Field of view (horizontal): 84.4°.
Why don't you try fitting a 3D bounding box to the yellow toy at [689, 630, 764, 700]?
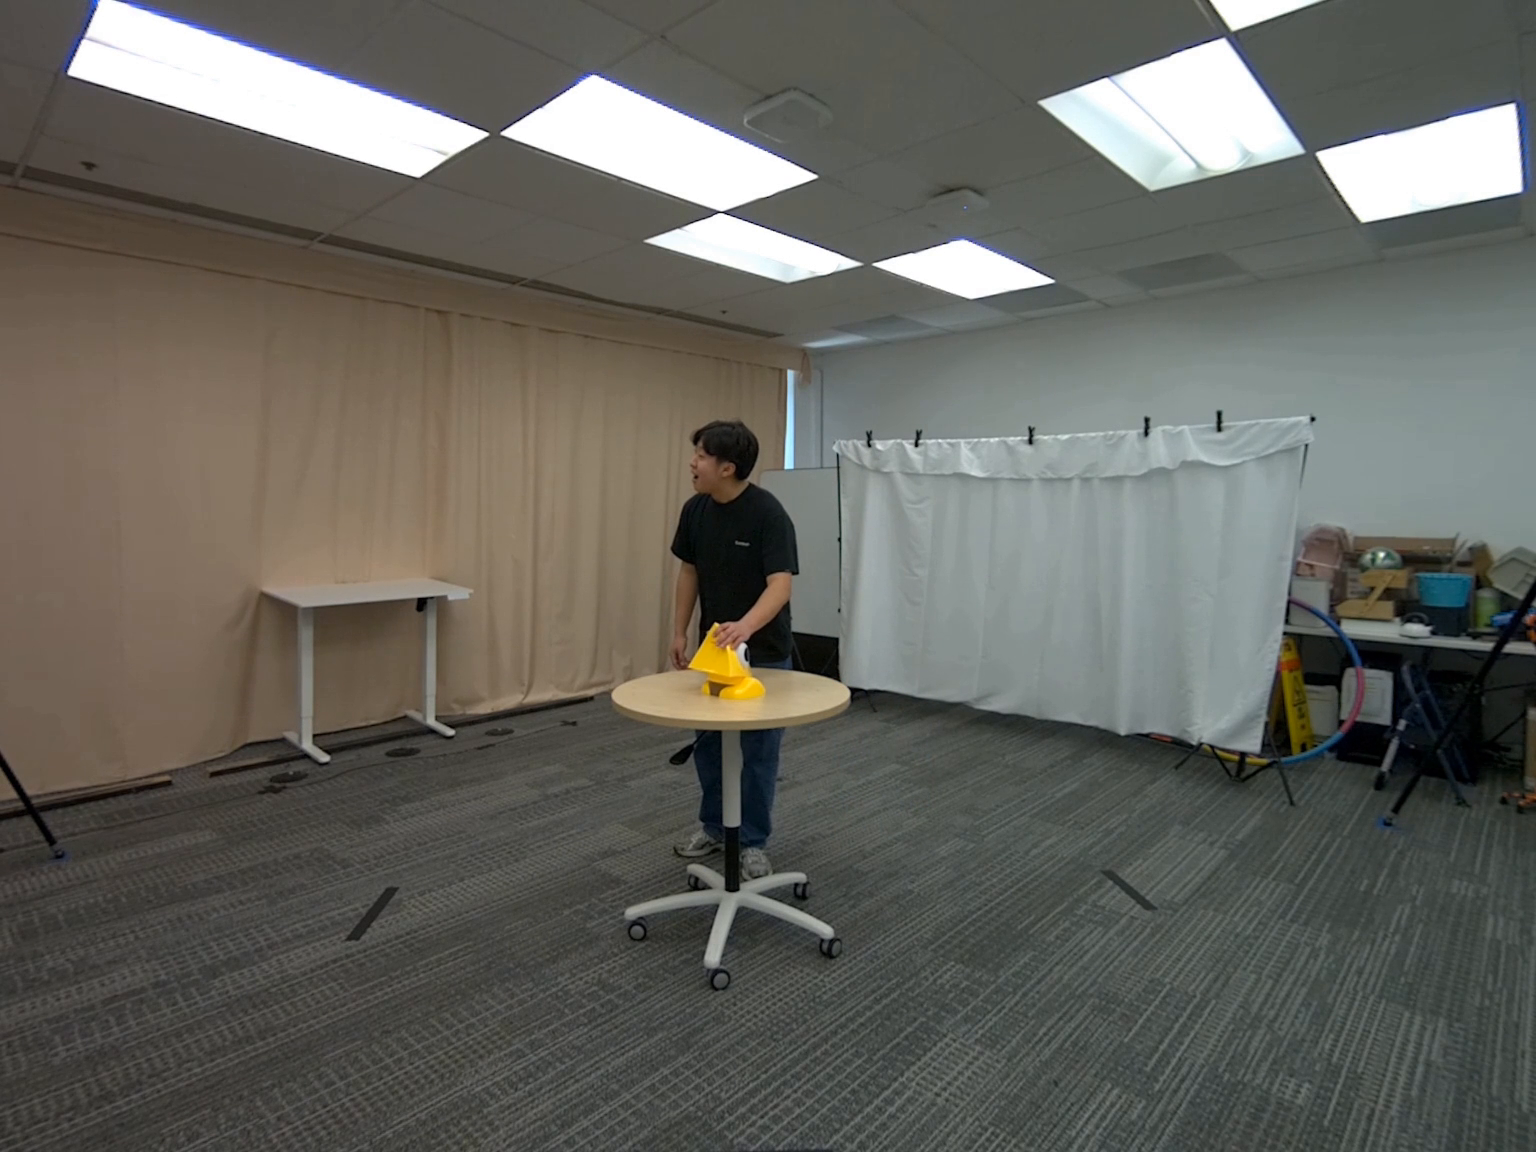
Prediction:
[{"bbox_3d":[-0.124,0.260,2.687,0.187,0.230,0.211,-4,5,-42],"label":"yellow toy"}]
